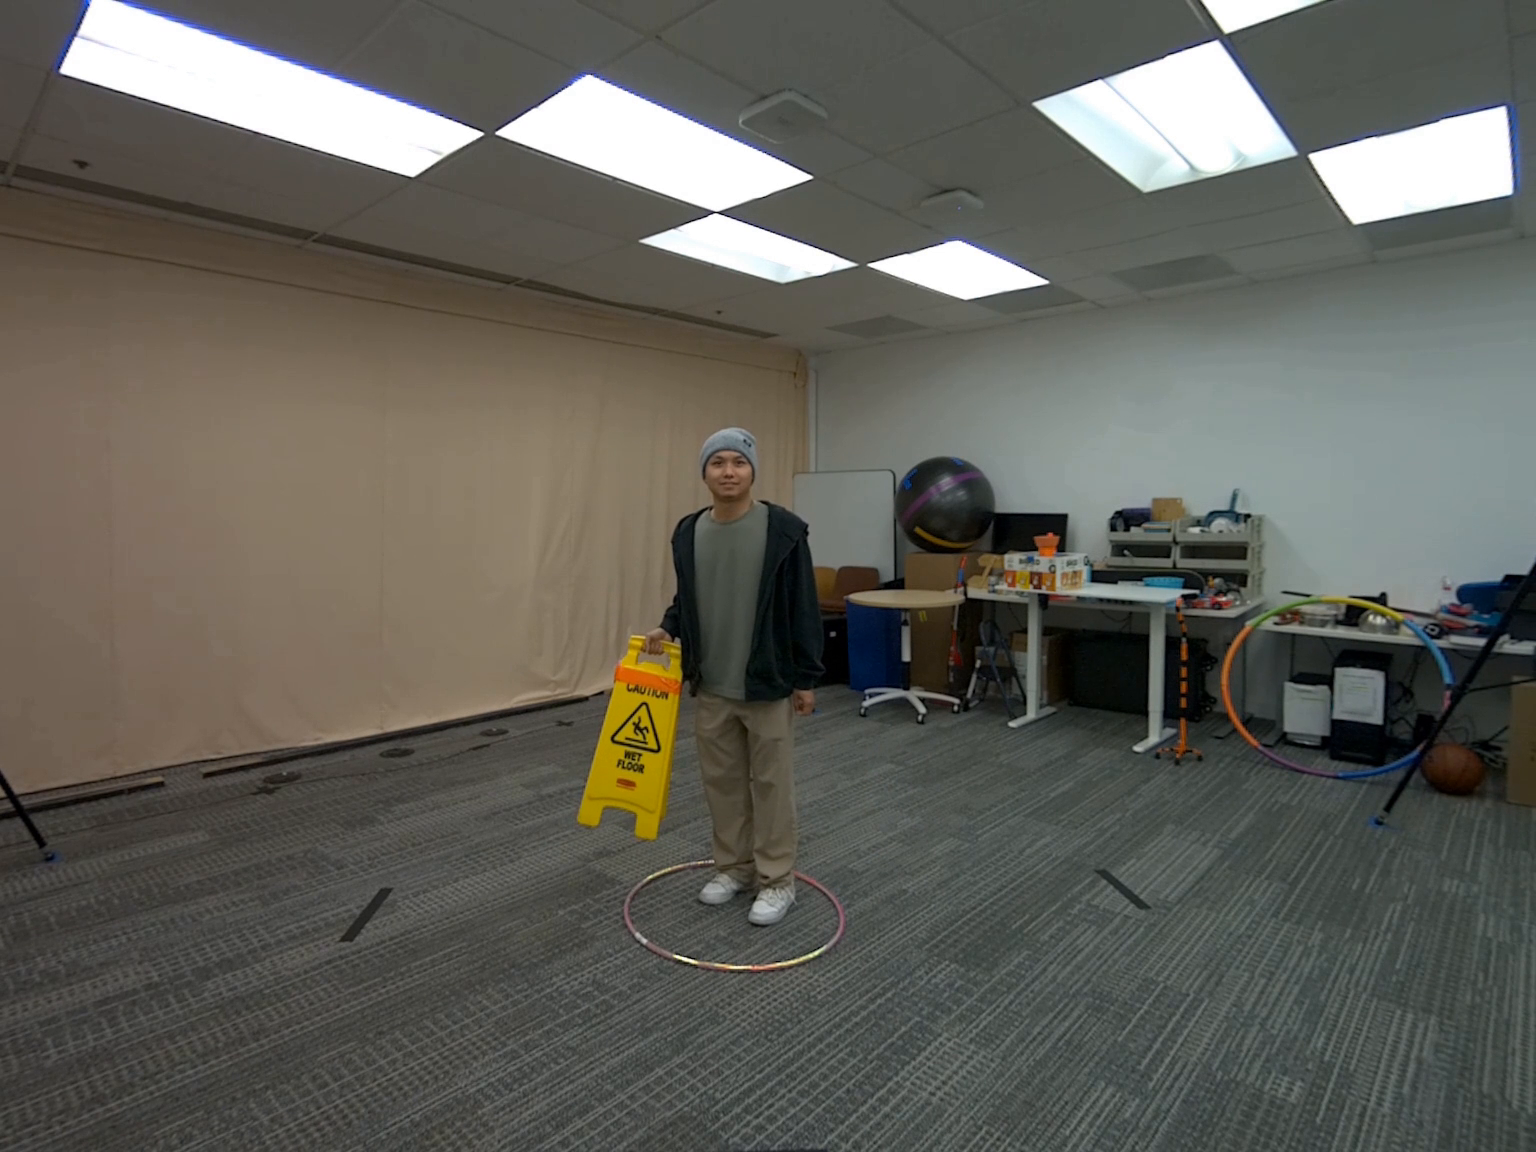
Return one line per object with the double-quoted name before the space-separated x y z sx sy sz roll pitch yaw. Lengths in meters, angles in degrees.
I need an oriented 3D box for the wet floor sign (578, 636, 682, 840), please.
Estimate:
"wet floor sign" -0.451 0.543 2.981 0.283 0.646 0.289 9 1 0
